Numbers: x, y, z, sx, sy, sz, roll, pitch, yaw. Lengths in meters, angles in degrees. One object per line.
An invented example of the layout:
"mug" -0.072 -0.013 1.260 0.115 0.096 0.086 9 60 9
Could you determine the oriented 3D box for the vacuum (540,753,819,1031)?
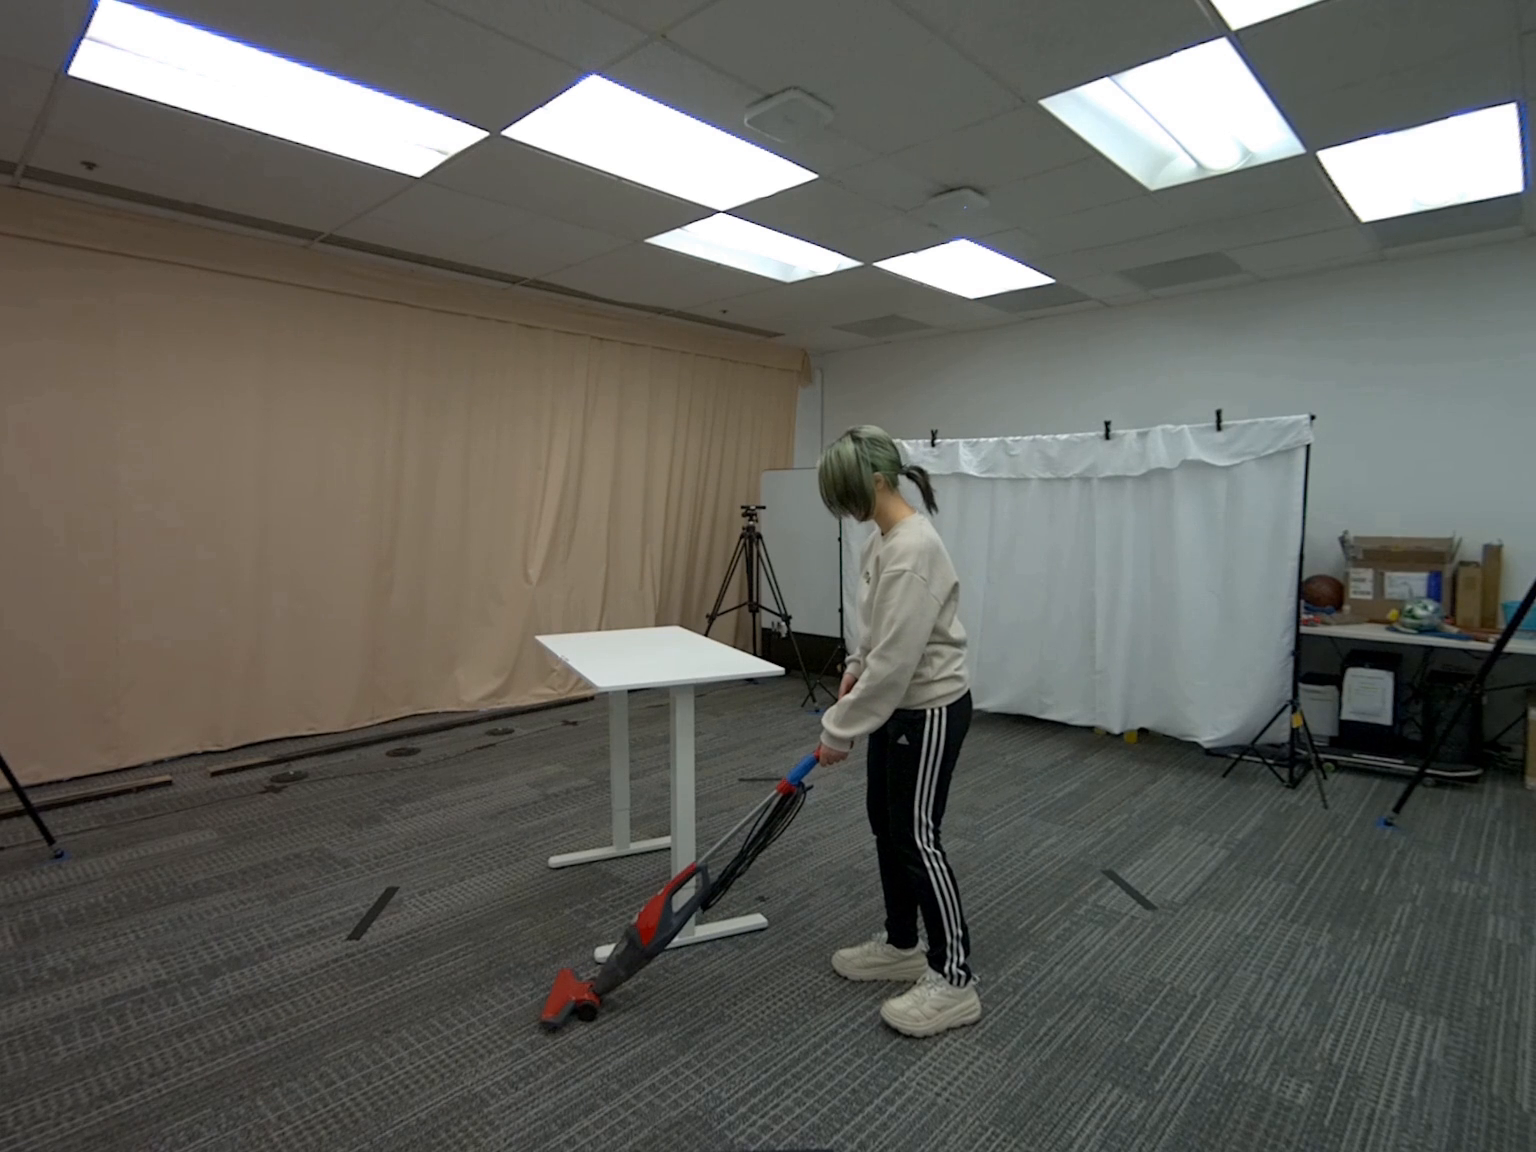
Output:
"vacuum" -0.161 0.831 2.313 1.050 0.143 0.253 -44 5 2
